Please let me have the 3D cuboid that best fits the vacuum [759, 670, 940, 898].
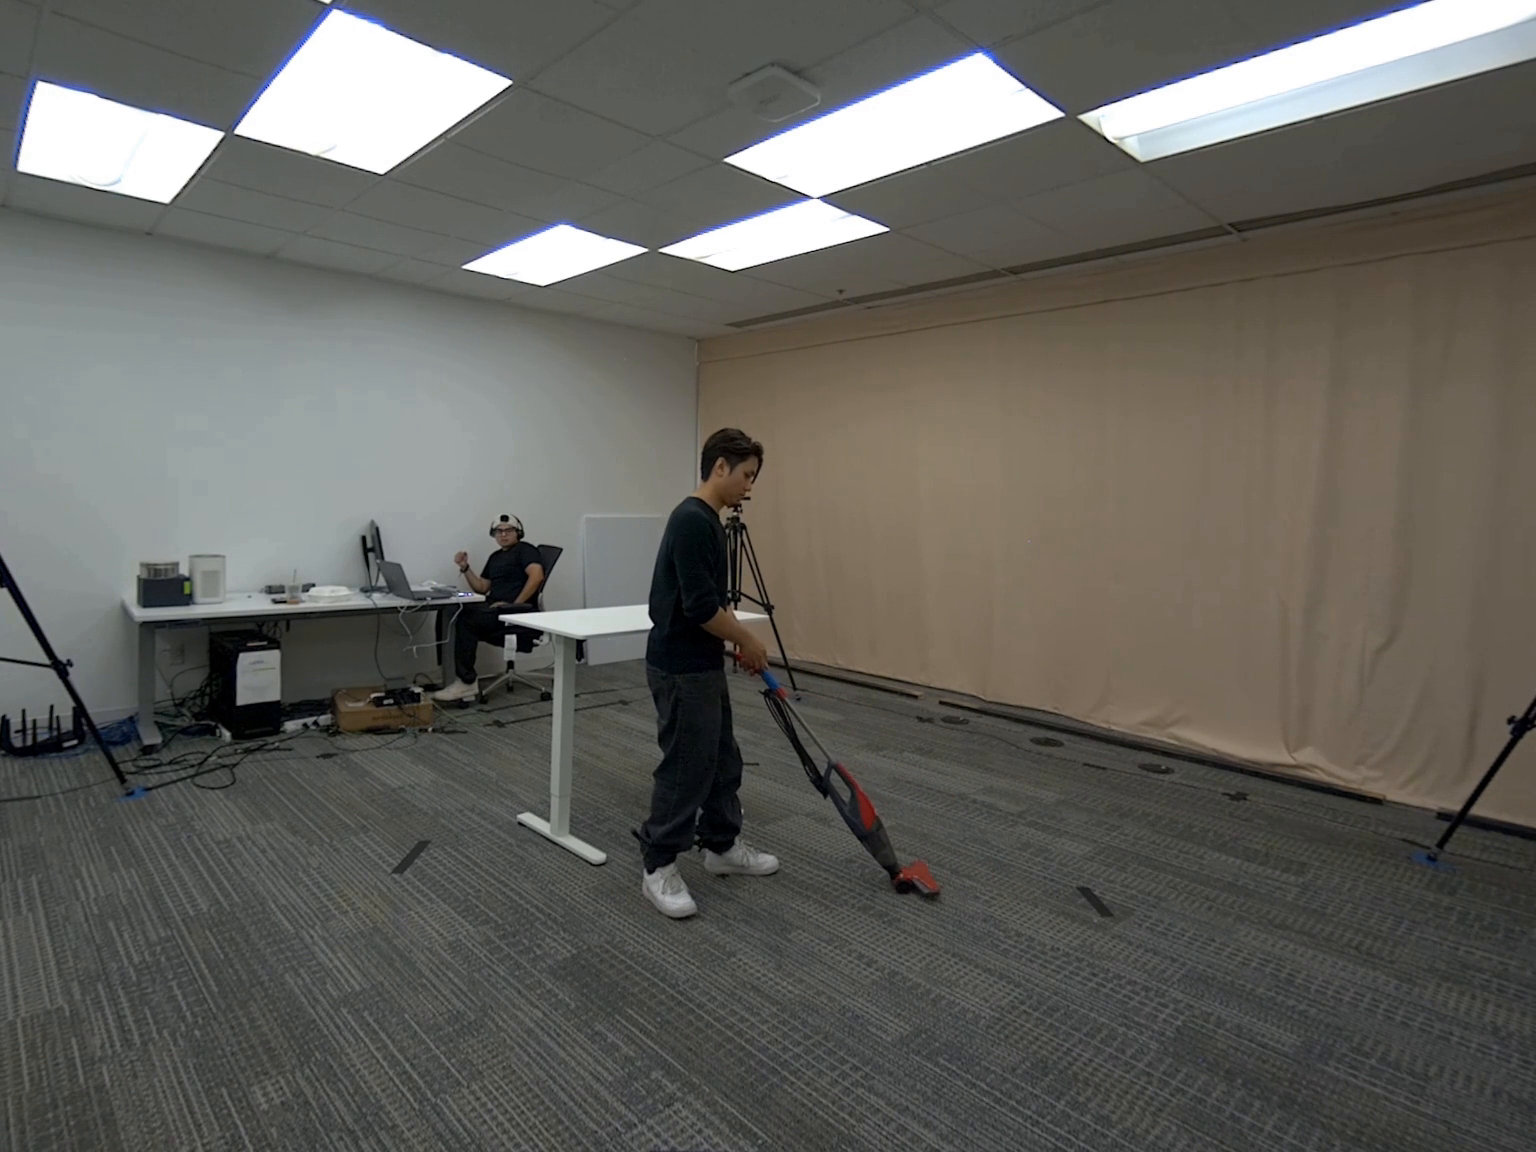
[{"bbox_3d":[0.207,0.703,3.035,0.144,1.046,0.253,-38,3,-4],"label":"vacuum"}]
